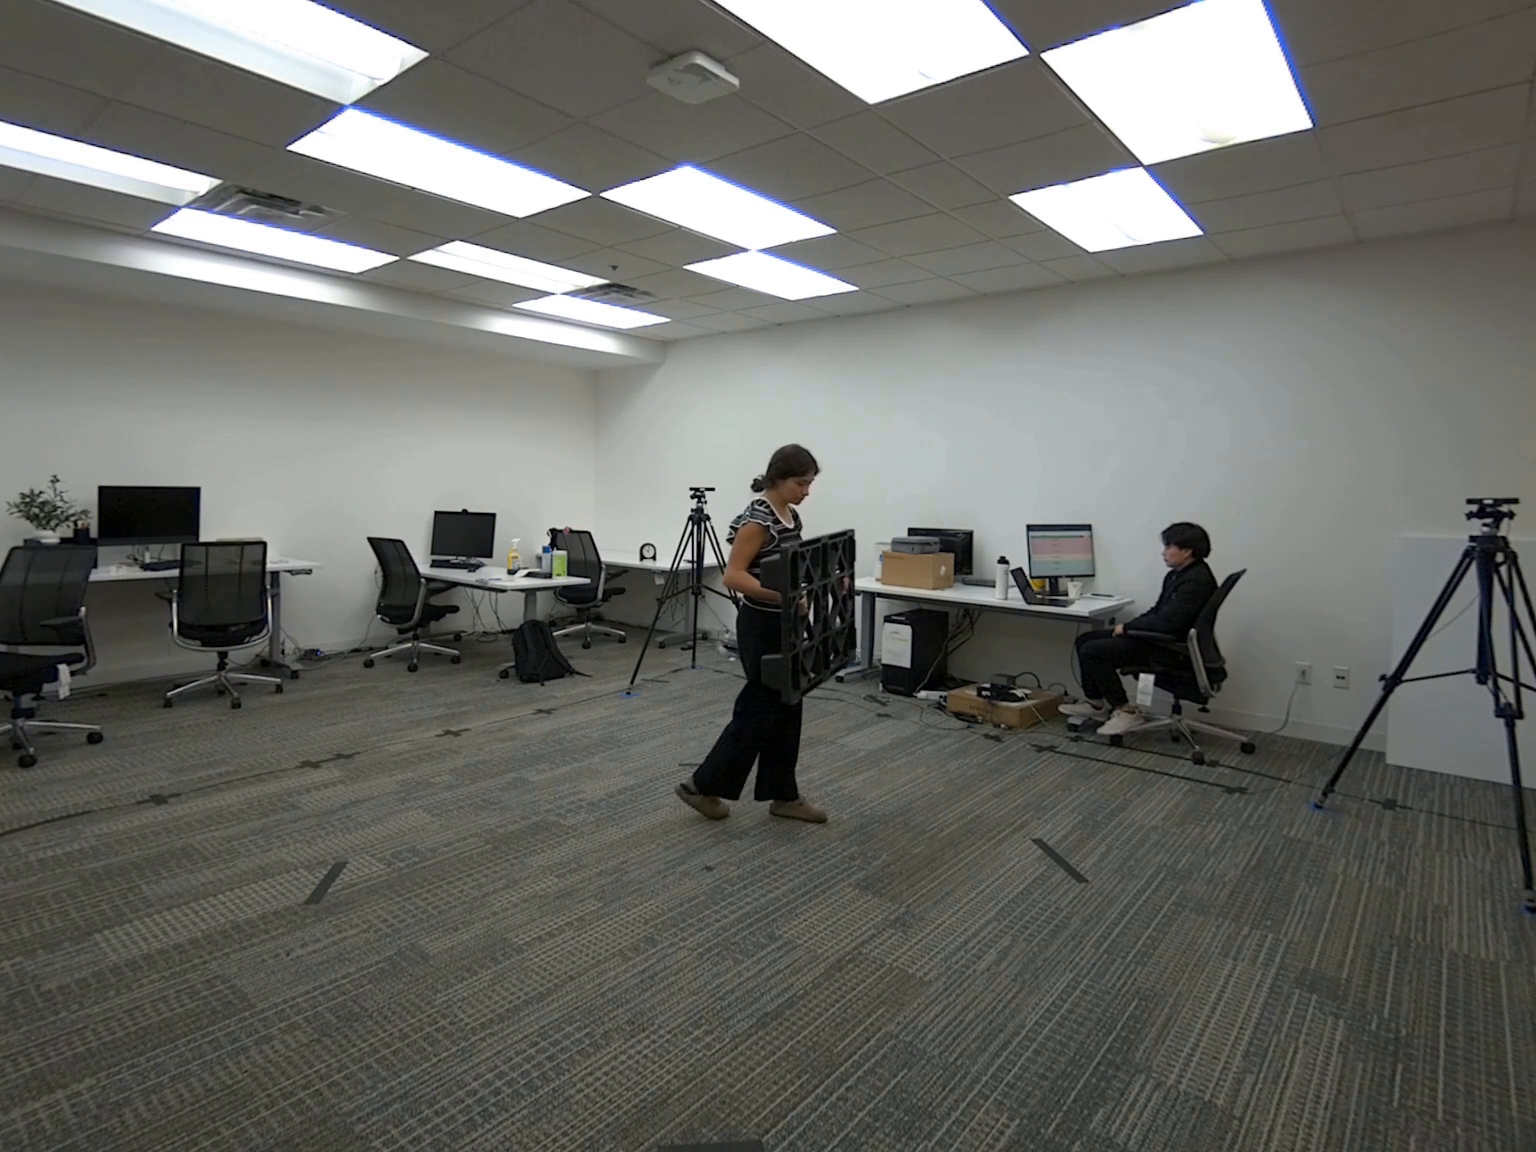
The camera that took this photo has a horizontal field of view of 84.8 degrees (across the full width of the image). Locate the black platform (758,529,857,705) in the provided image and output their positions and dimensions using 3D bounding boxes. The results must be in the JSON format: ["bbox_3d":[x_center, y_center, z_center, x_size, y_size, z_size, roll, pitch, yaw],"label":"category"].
[{"bbox_3d":[0.161,0.128,3.502,0.147,0.602,0.790,0,6,24],"label":"black platform"}]
